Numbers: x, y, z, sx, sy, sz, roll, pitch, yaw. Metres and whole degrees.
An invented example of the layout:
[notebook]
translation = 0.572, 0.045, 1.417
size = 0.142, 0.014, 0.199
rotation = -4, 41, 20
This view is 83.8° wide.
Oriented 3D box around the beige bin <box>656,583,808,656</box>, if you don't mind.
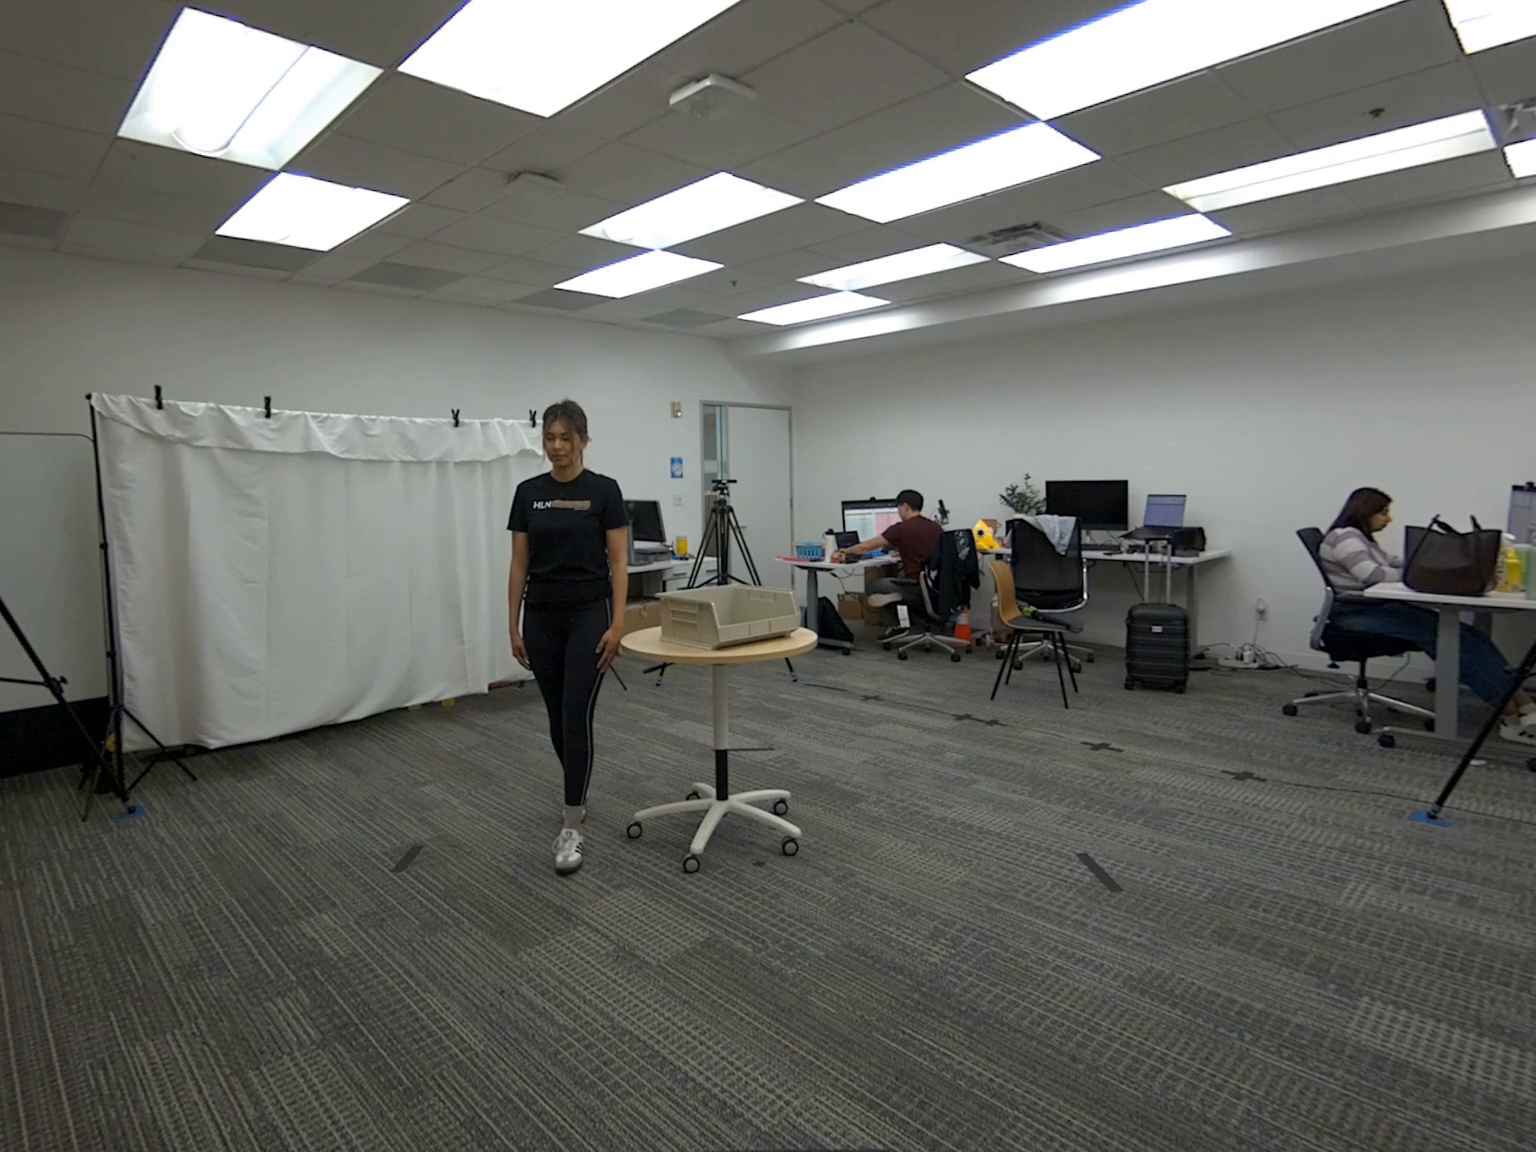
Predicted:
[beige bin]
translation = -0.142, 0.152, 3.280
size = 0.412, 0.188, 0.388
rotation = -8, 6, -38
